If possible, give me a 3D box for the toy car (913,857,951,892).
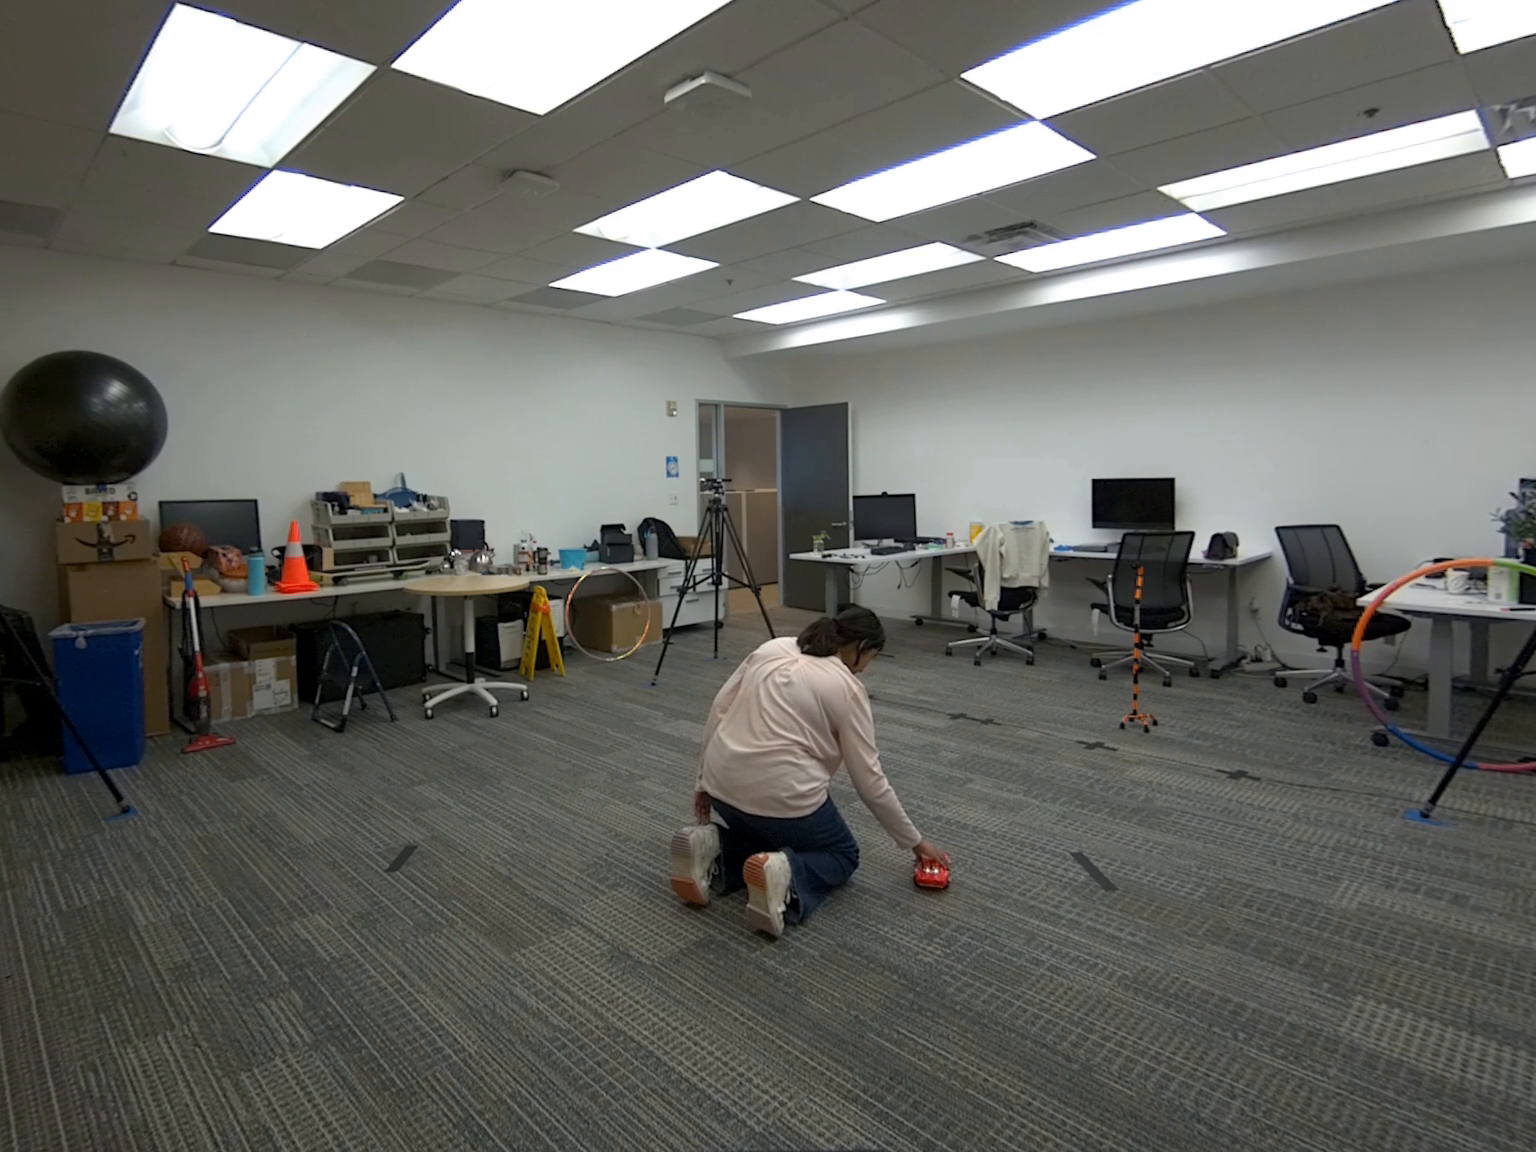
[{"bbox_3d":[0.563,1.013,2.946,0.132,0.083,0.250,1,-5,12],"label":"toy car"}]
